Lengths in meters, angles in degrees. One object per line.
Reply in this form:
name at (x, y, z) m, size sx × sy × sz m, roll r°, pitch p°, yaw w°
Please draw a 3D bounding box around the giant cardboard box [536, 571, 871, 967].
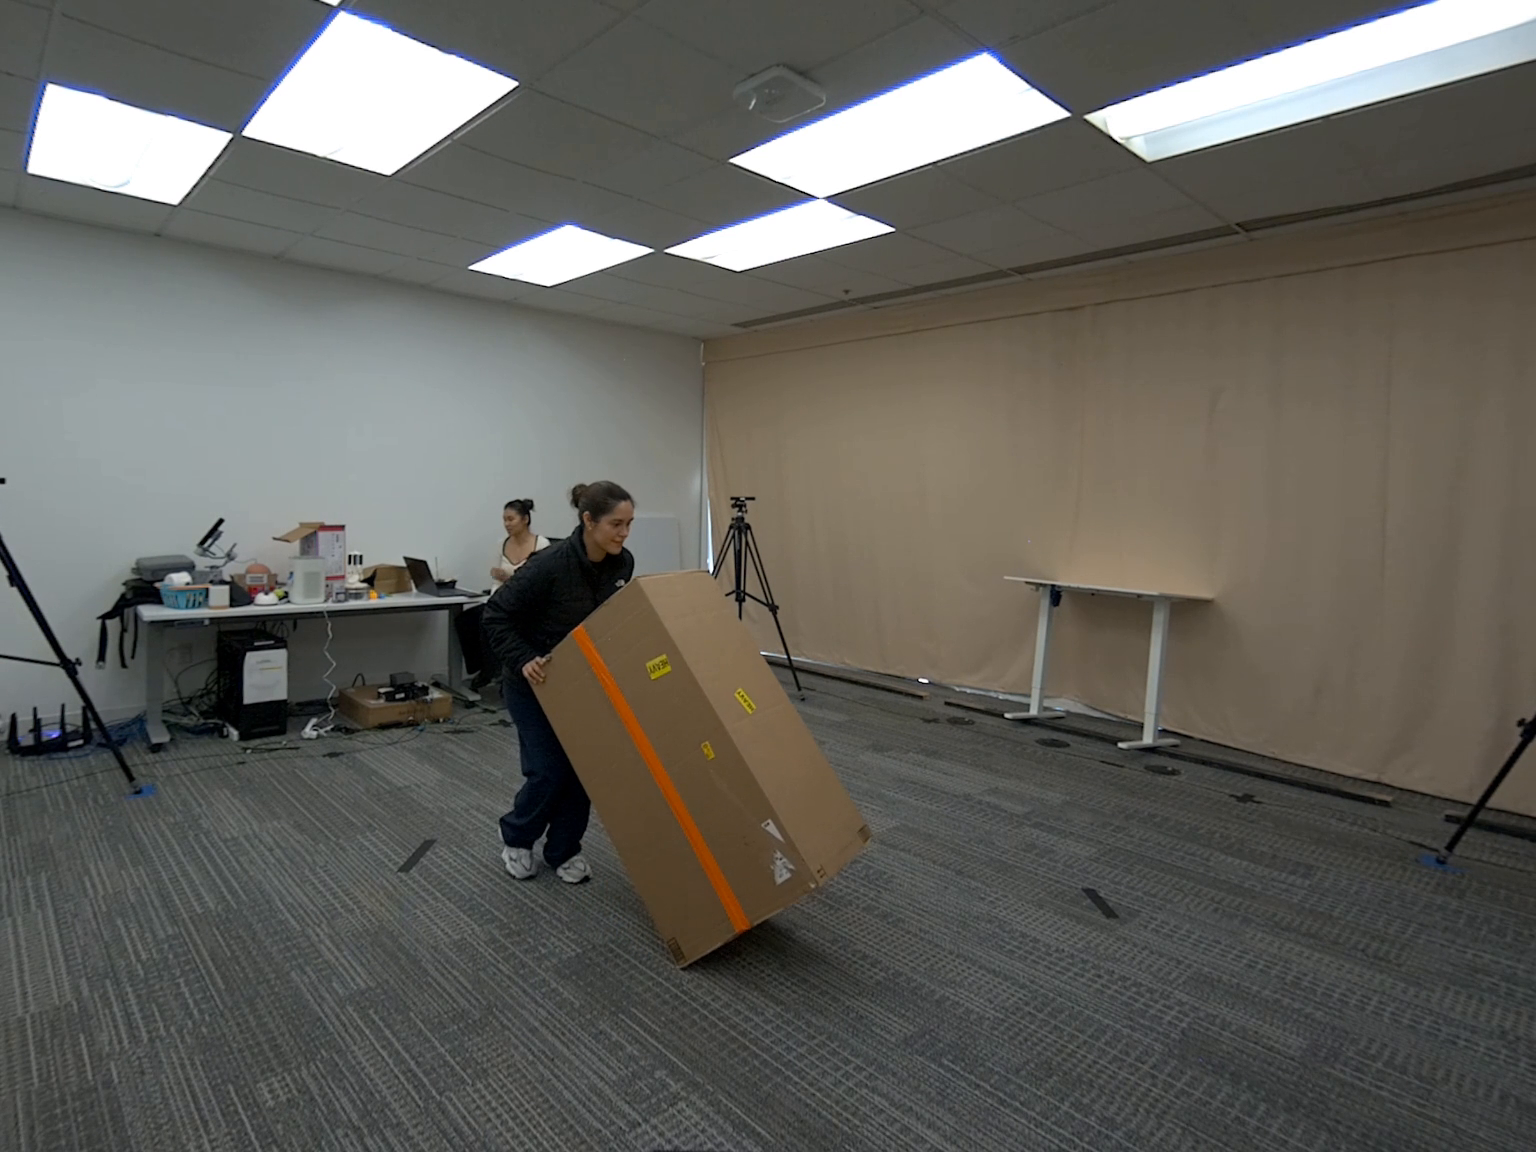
giant cardboard box at (-0.239, 0.571, 2.673) m, size 0.585 × 1.044 × 0.438 m, roll -40°, pitch -17°, yaw 25°
